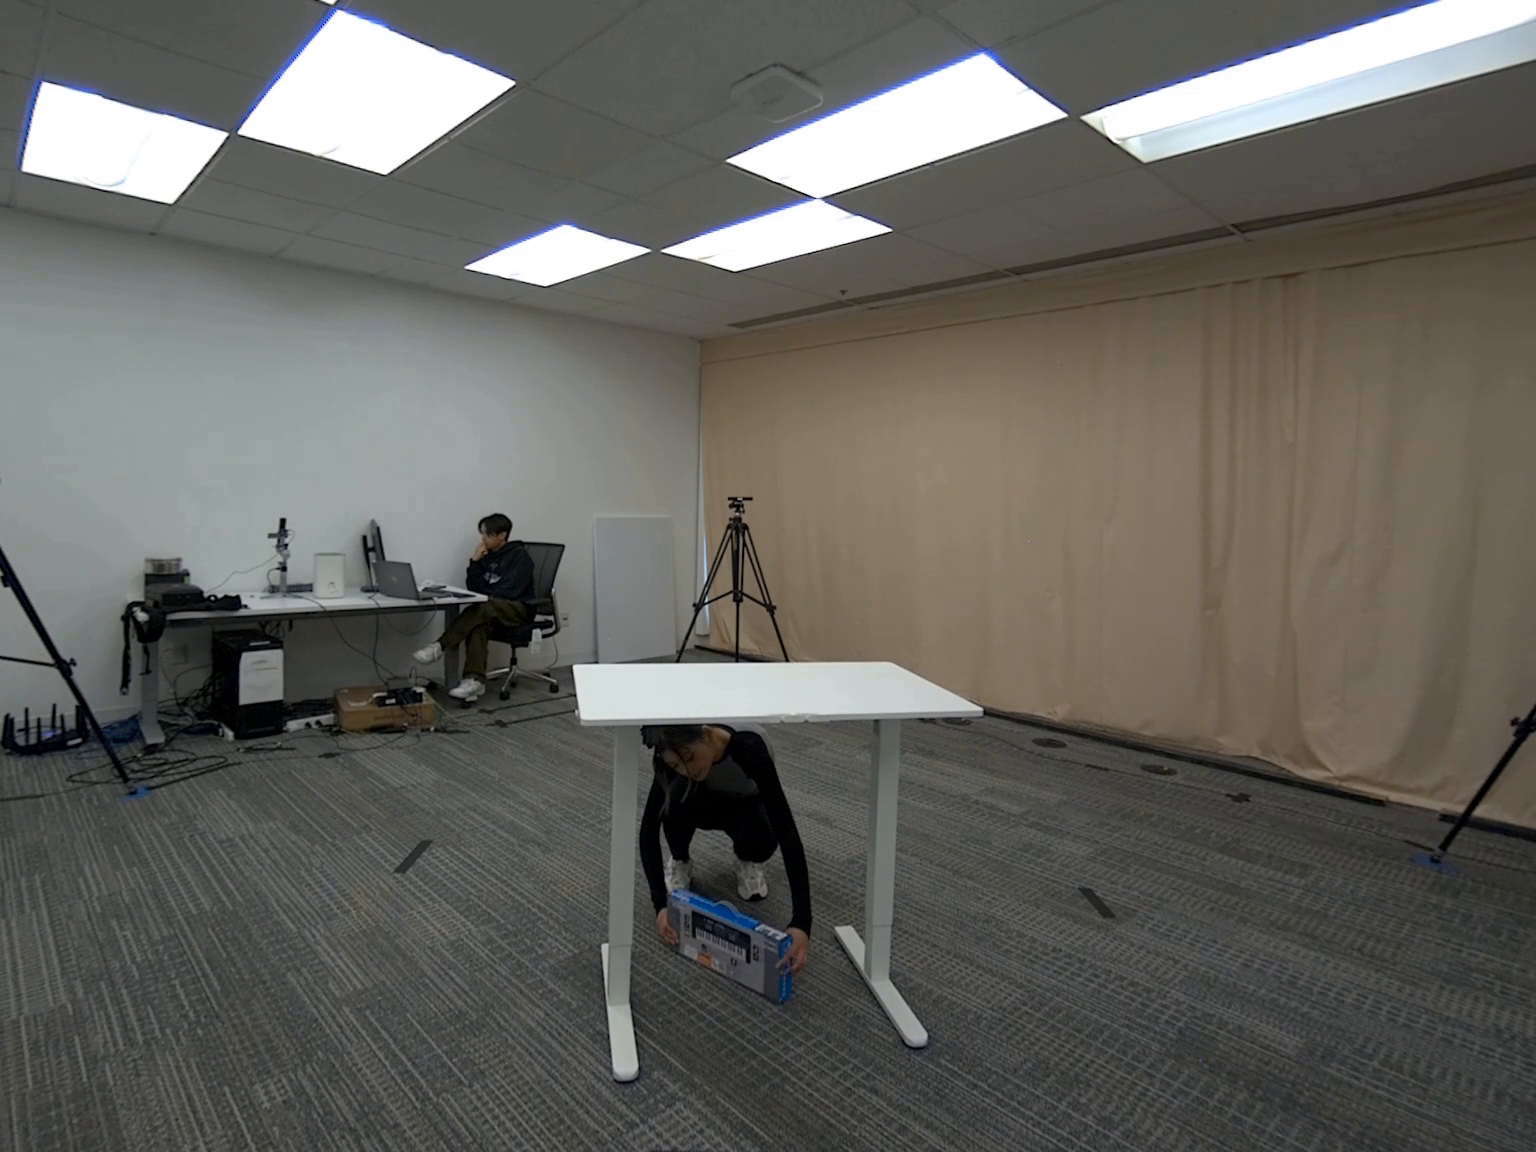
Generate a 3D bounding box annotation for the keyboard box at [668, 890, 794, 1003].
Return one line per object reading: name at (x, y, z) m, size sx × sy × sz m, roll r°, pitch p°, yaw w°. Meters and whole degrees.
keyboard box at (-0.141, 1.082, 2.471) m, size 0.448 × 0.175 × 0.058 m, roll 6°, pitch 5°, yaw 40°
